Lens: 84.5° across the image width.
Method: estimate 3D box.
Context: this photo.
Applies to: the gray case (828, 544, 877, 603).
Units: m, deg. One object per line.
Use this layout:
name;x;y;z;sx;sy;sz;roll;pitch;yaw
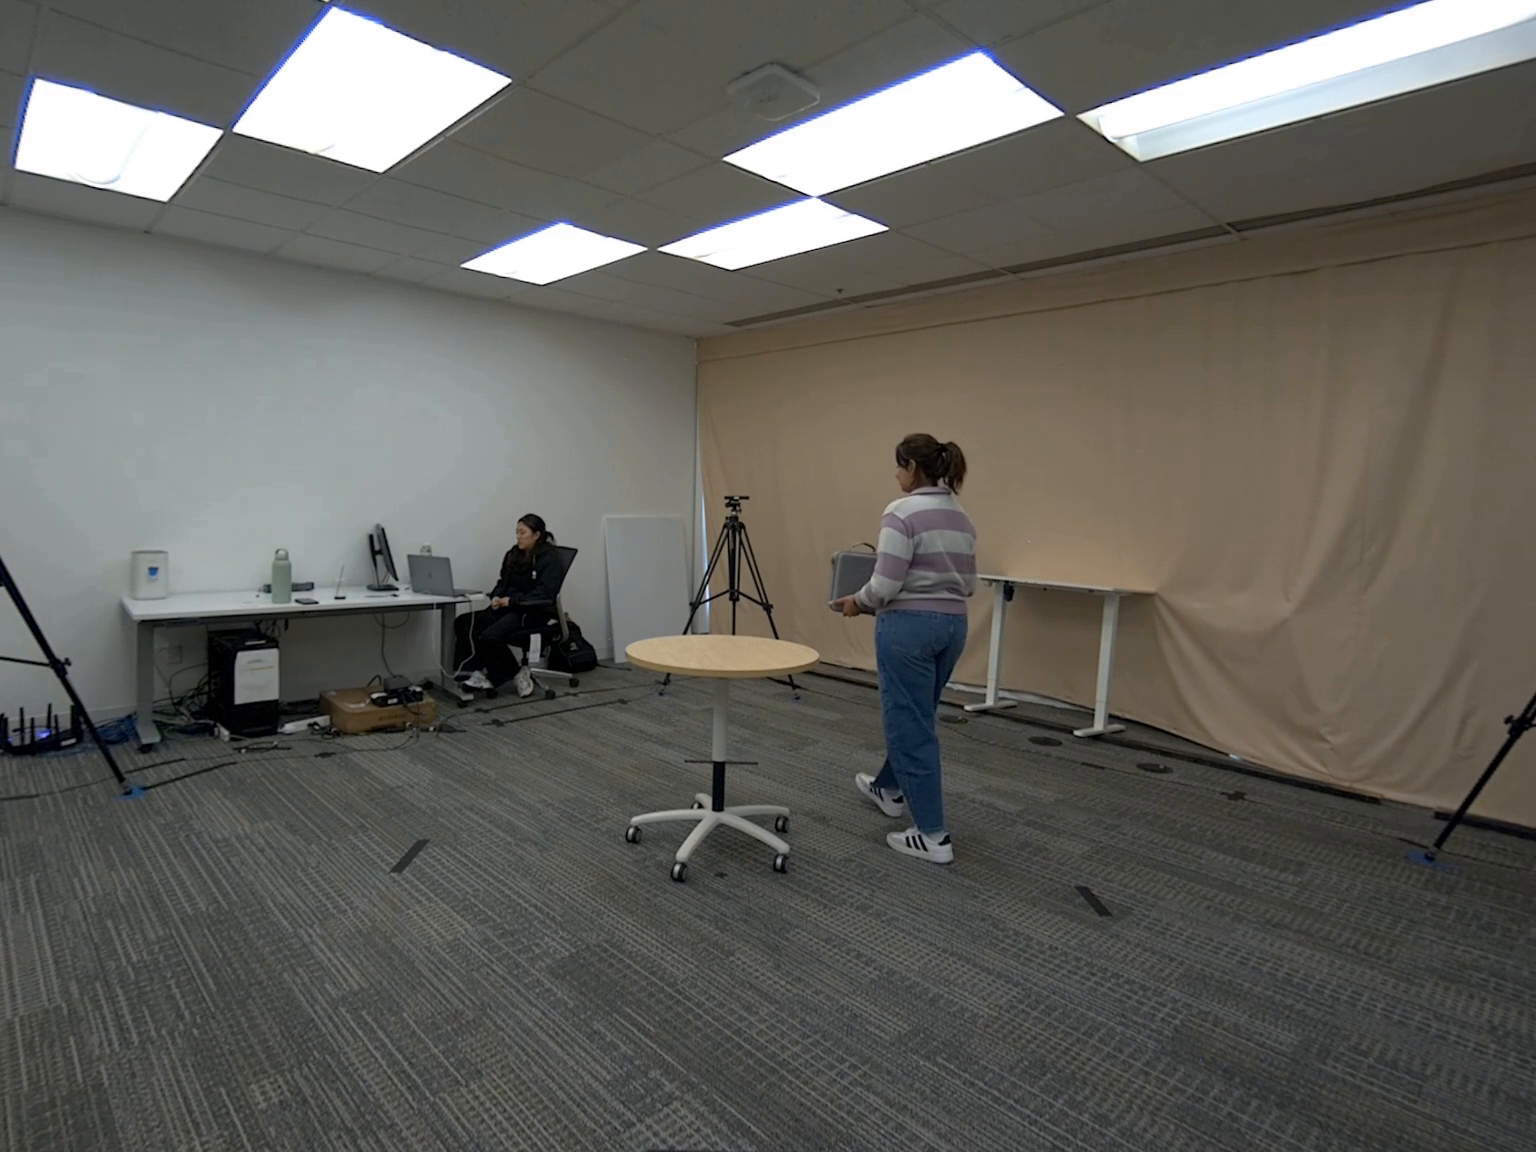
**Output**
gray case;0.388;0.025;3.559;0.254;0.260;0.106;6;5;-12
